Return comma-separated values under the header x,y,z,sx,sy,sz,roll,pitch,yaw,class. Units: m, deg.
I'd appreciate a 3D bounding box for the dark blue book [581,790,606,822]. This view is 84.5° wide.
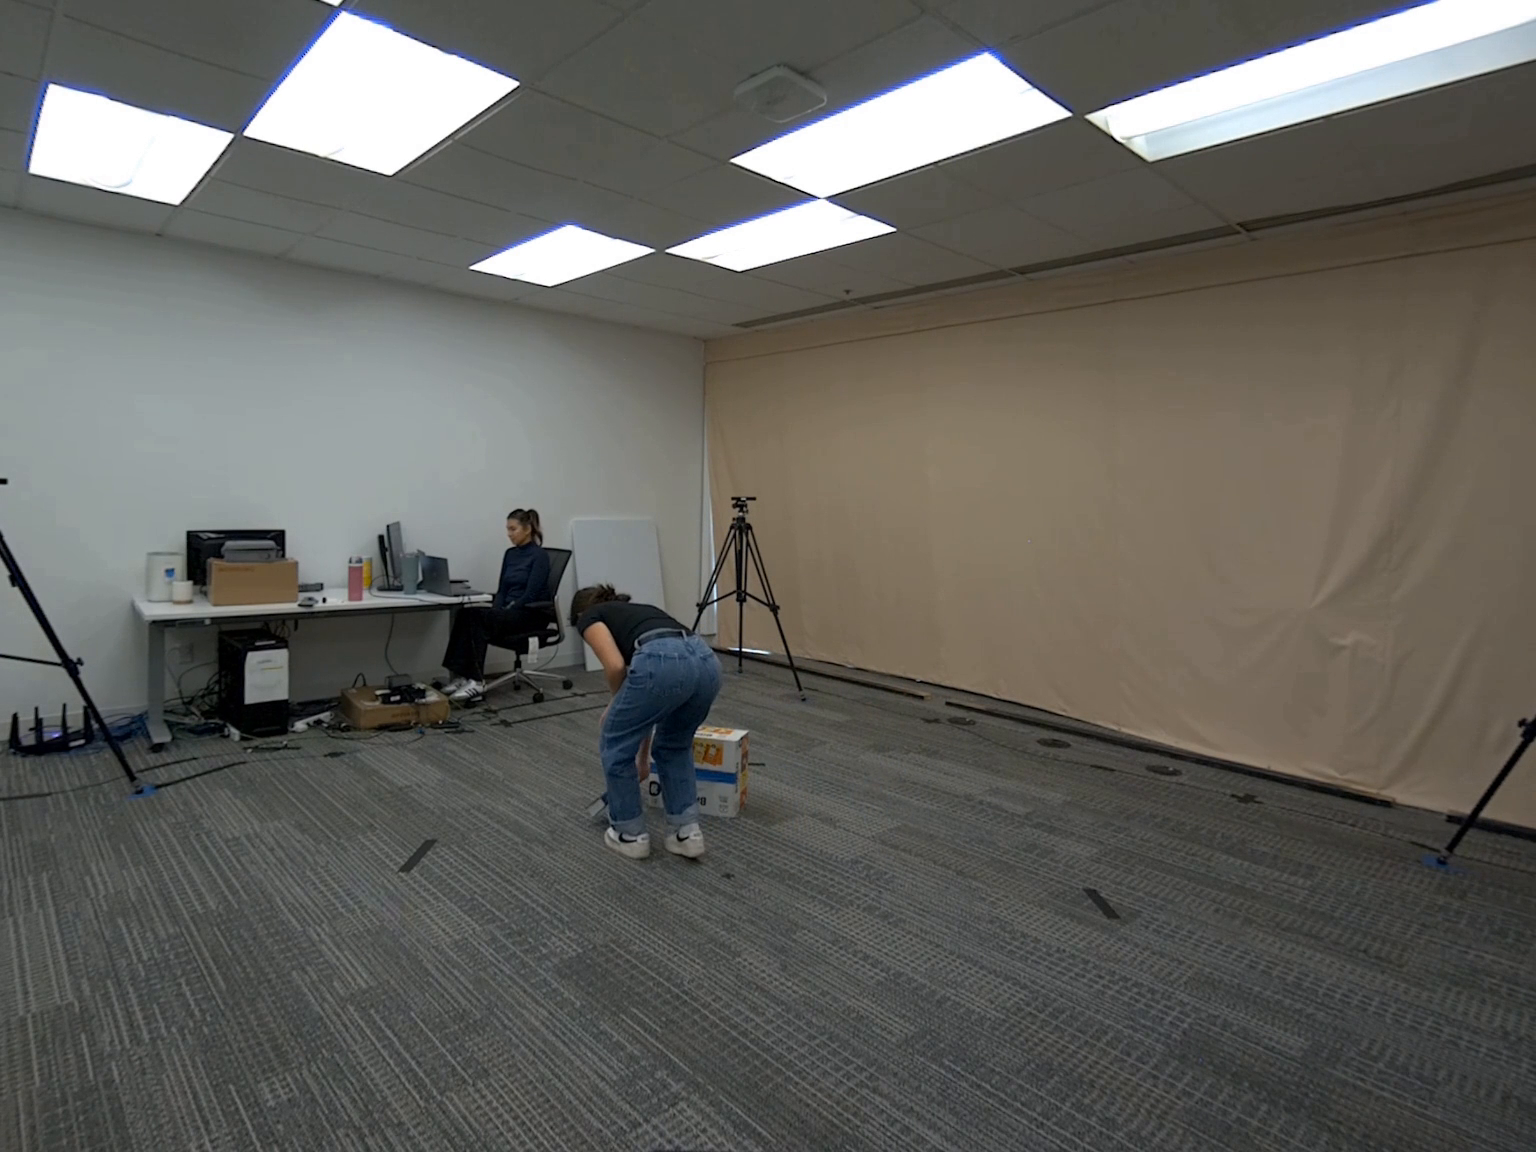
x,y,z,sx,sy,sz,roll,pitch,yaw,class
-0.665,0.927,3.605,0.243,0.045,0.163,-33,-11,-45,dark blue book
